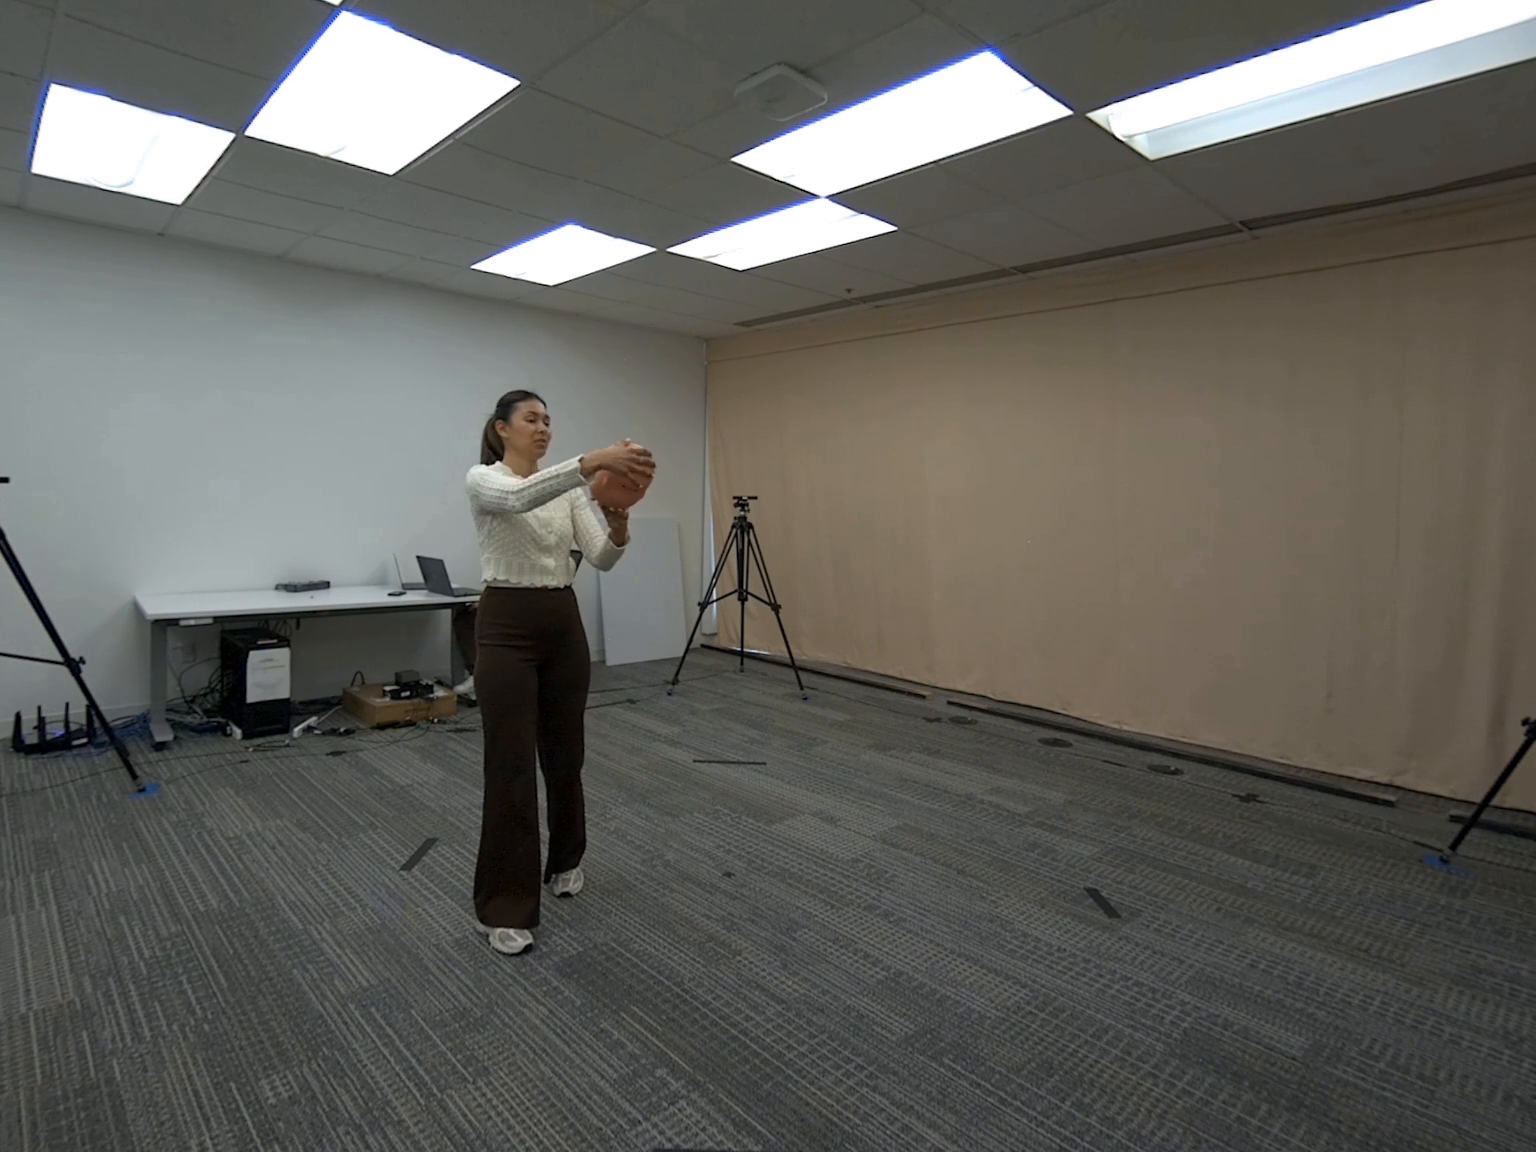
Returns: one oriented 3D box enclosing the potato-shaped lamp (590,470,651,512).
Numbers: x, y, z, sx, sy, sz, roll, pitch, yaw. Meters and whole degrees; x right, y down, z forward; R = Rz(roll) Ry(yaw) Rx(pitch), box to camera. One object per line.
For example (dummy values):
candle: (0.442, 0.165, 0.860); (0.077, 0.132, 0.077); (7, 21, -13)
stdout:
potato-shaped lamp: (-0.428, -0.296, 2.380); (0.167, 0.168, 0.199); (22, -39, -27)
